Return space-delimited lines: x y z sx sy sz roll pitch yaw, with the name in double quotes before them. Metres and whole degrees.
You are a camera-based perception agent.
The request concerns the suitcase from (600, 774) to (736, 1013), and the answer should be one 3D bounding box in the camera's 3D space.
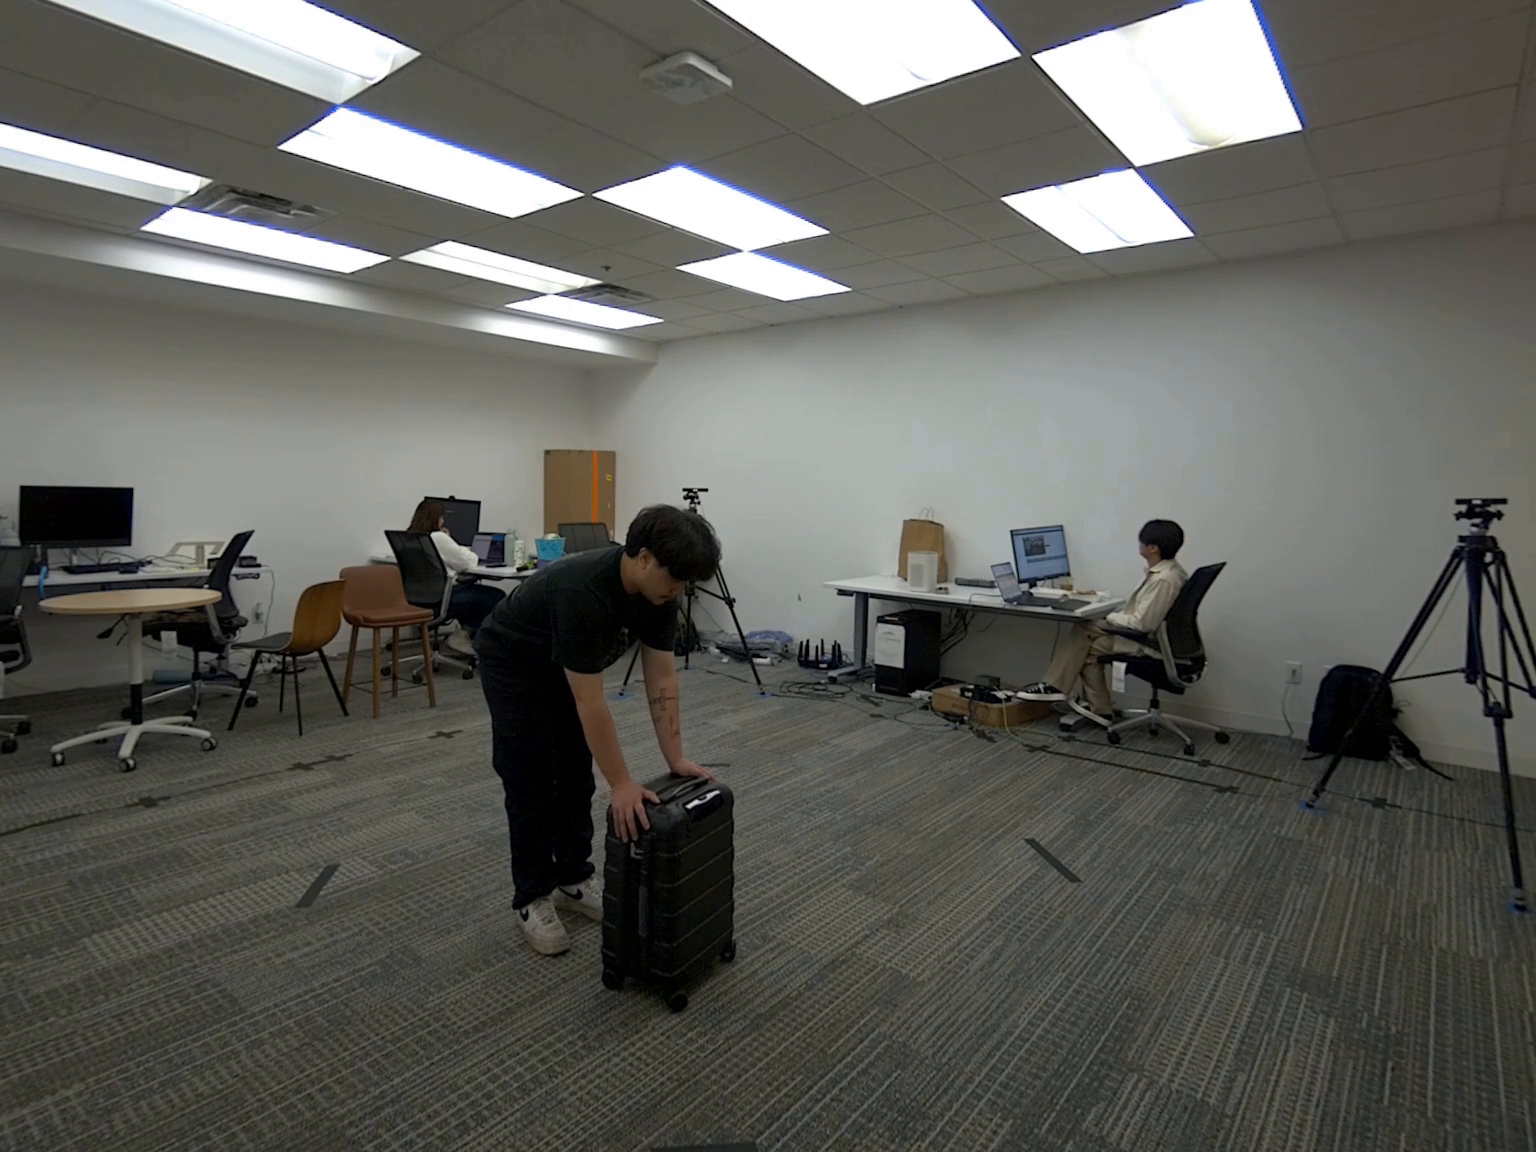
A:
"suitcase" -0.279 0.860 2.420 0.256 0.547 0.366 2 4 31
